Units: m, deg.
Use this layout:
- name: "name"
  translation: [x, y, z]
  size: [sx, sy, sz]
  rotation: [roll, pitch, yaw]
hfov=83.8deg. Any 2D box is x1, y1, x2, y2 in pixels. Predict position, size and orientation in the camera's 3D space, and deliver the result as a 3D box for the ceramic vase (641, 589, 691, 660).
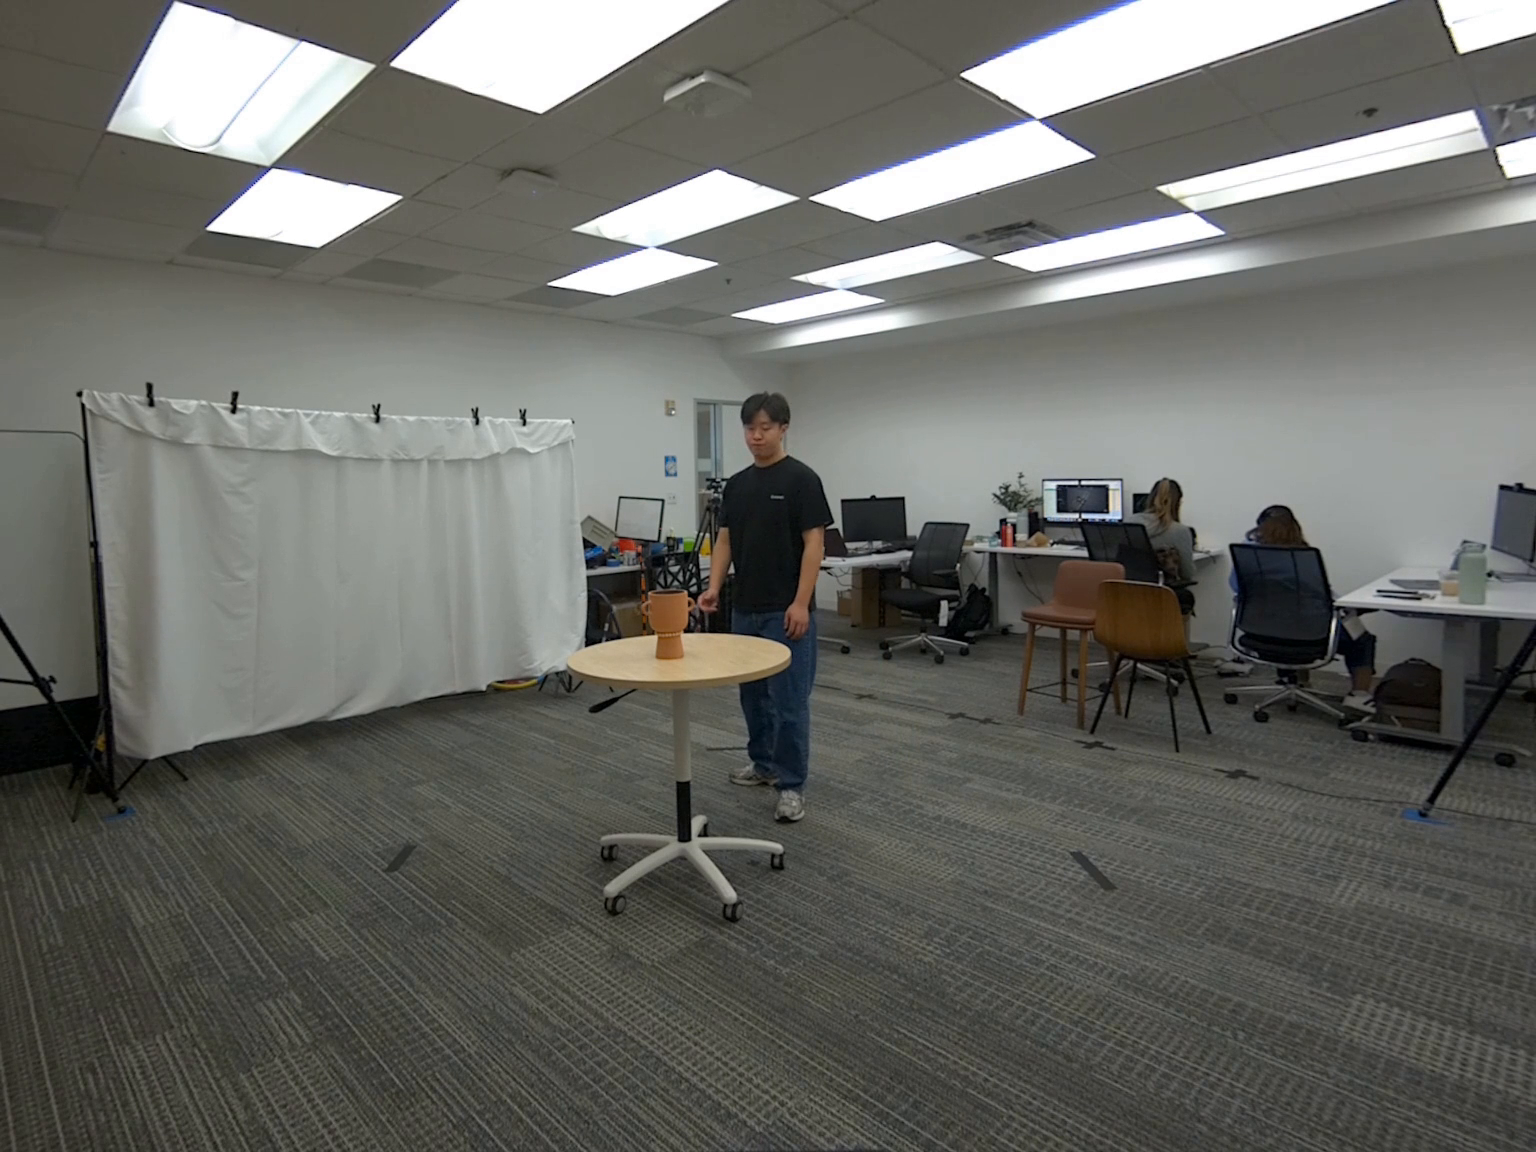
- name: "ceramic vase"
  translation: [-0.335, 0.168, 2.897]
  size: [0.160, 0.219, 0.134]
  rotation: [-1, 5, 9]
